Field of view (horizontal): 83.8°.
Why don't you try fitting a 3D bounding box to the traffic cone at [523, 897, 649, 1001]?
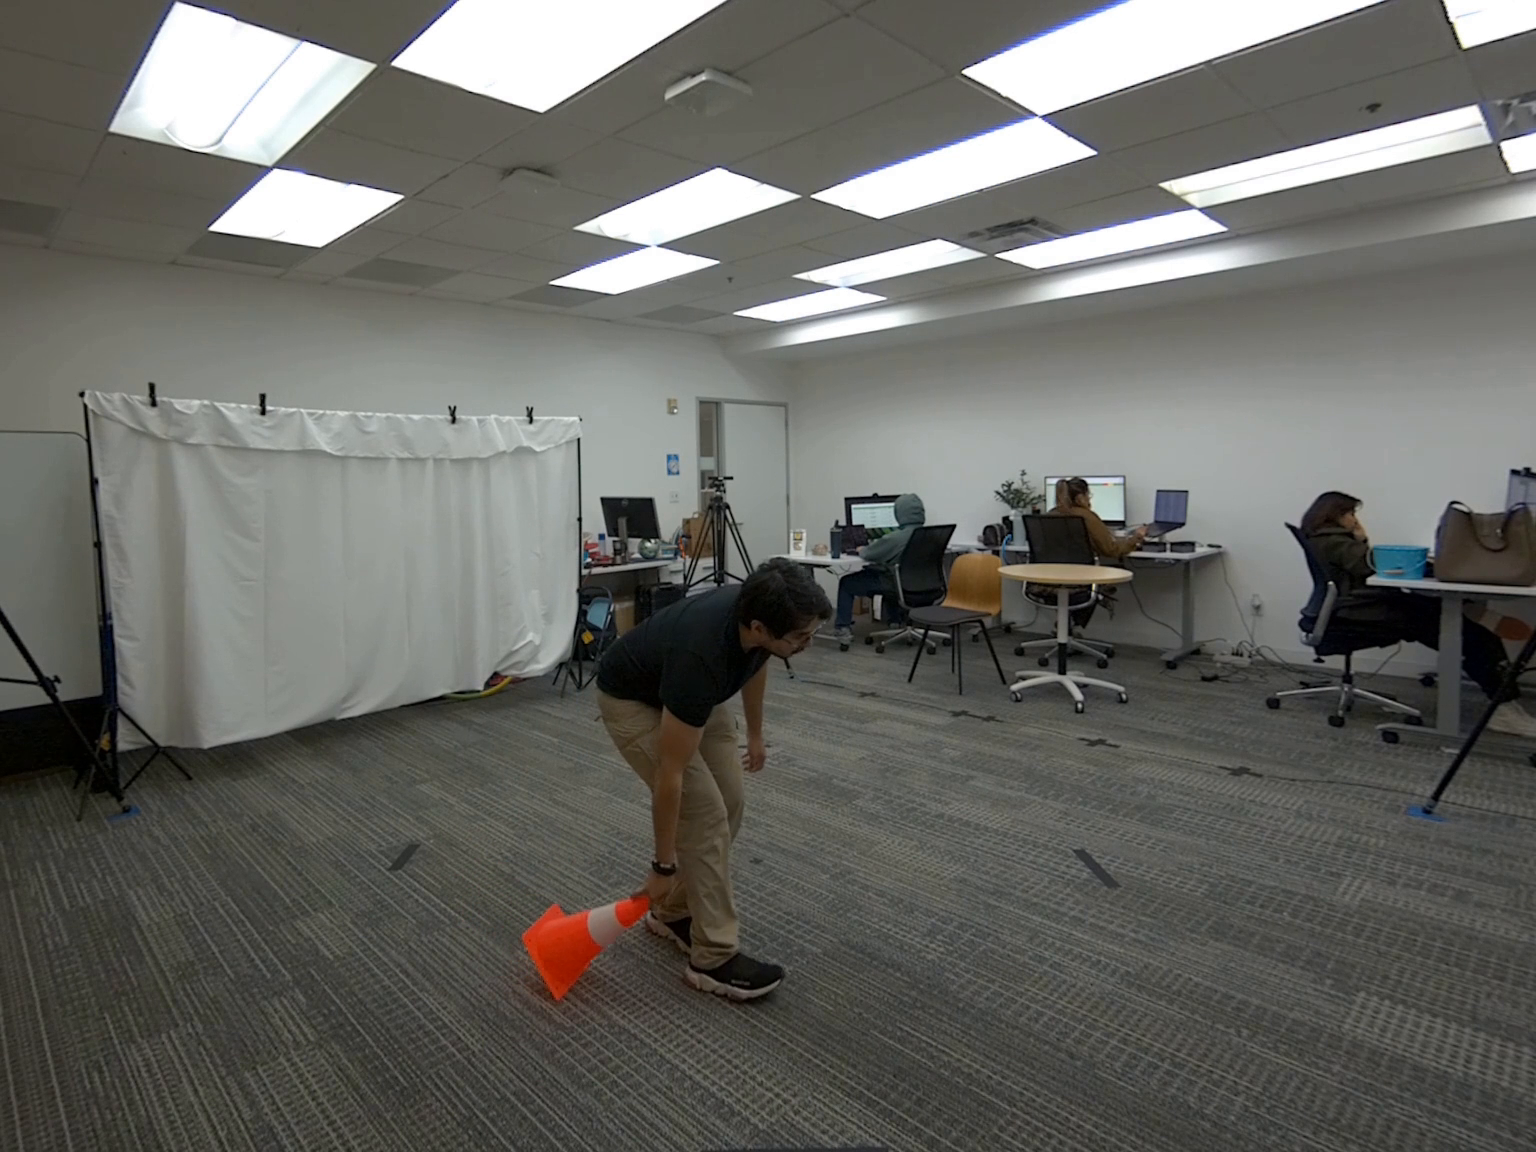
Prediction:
[{"bbox_3d":[-0.434,0.948,2.338,0.386,0.209,0.198,-35,-15,22],"label":"traffic cone"}]
